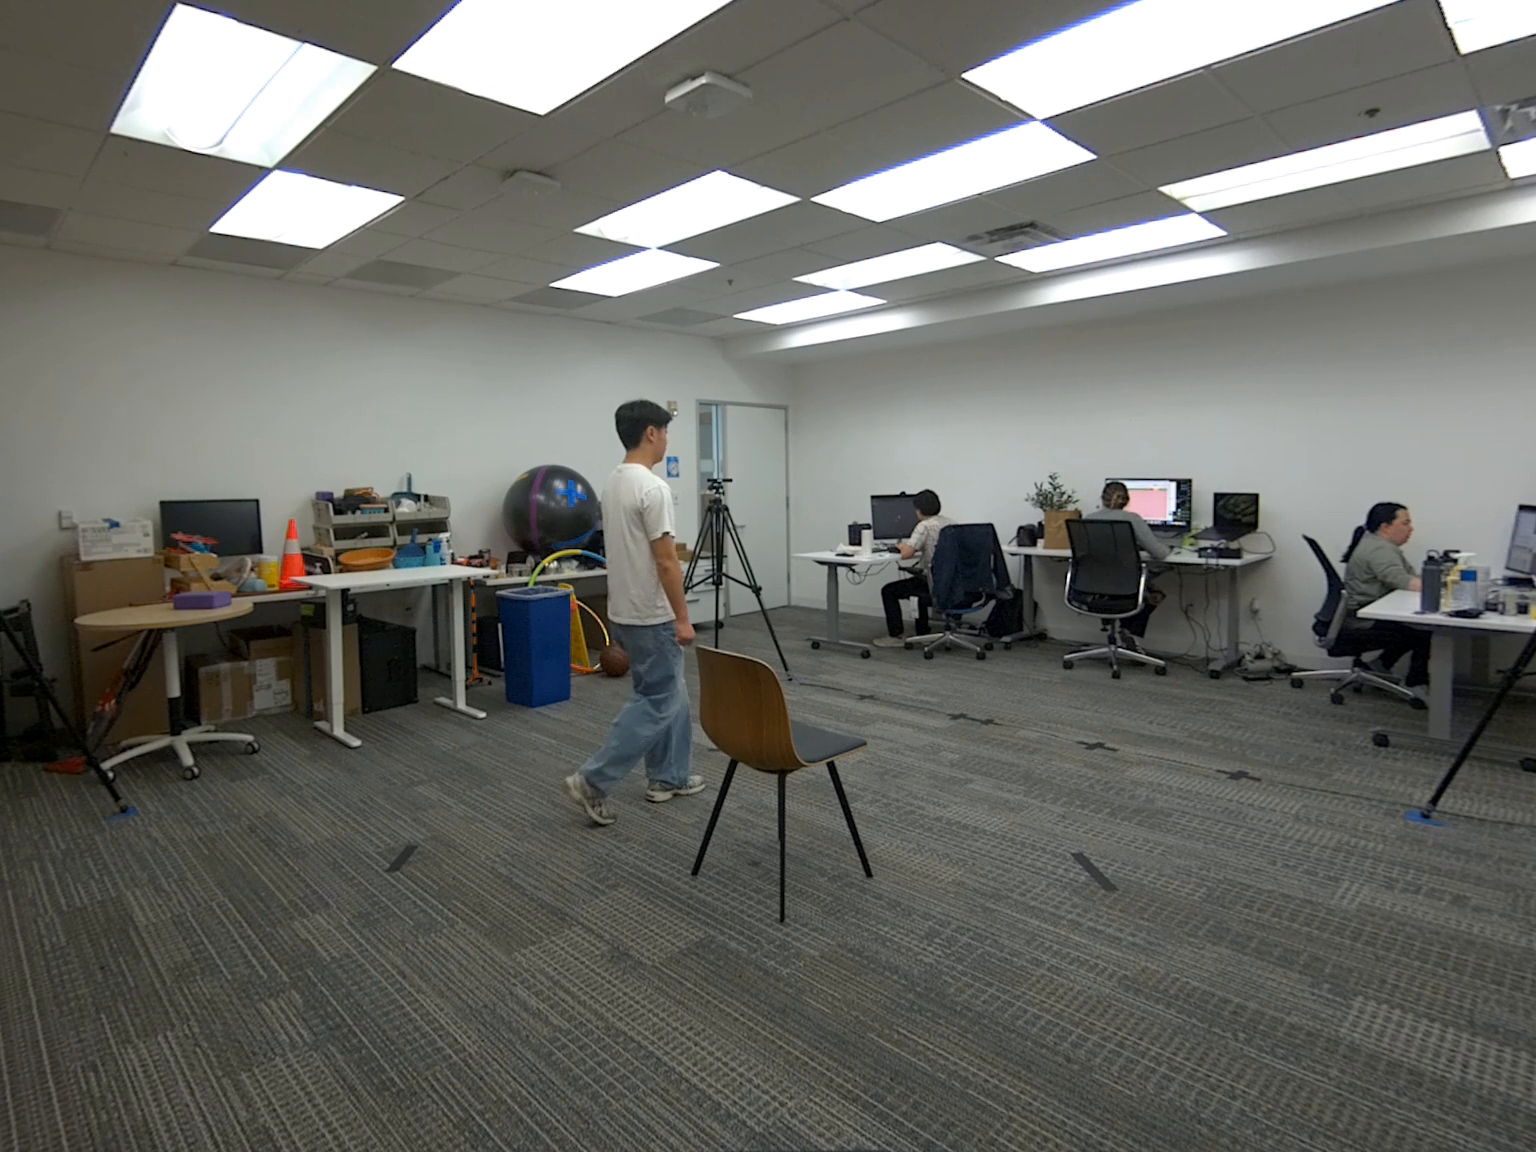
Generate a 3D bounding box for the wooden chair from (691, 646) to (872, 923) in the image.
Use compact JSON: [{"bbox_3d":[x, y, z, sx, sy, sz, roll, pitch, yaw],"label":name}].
[{"bbox_3d":[0.050,0.632,2.971,0.511,0.871,0.493,-10,10,-43],"label":"wooden chair"}]
